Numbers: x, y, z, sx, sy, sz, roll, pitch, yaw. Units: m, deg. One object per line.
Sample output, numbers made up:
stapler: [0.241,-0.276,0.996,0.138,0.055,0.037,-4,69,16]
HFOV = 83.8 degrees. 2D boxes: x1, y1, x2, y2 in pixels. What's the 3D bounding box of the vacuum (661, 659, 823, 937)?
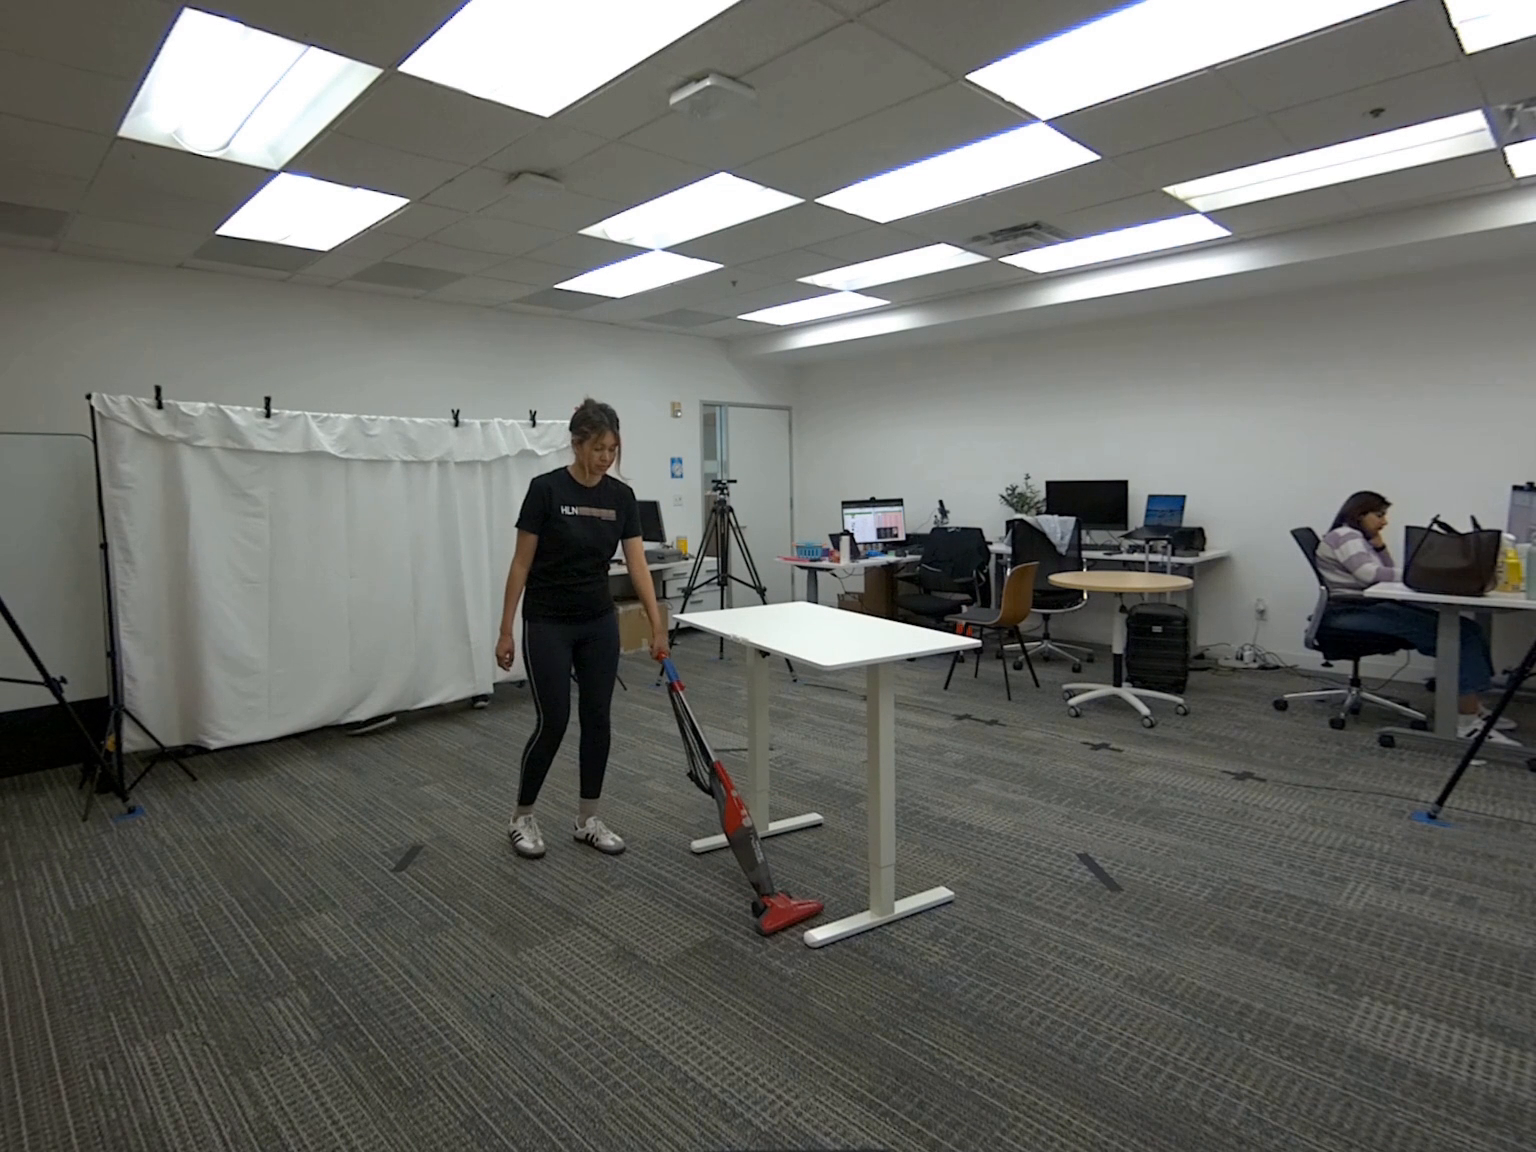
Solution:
vacuum: [-0.195,0.678,3.002,0.245,0.143,1.086,-1,47,-41]
